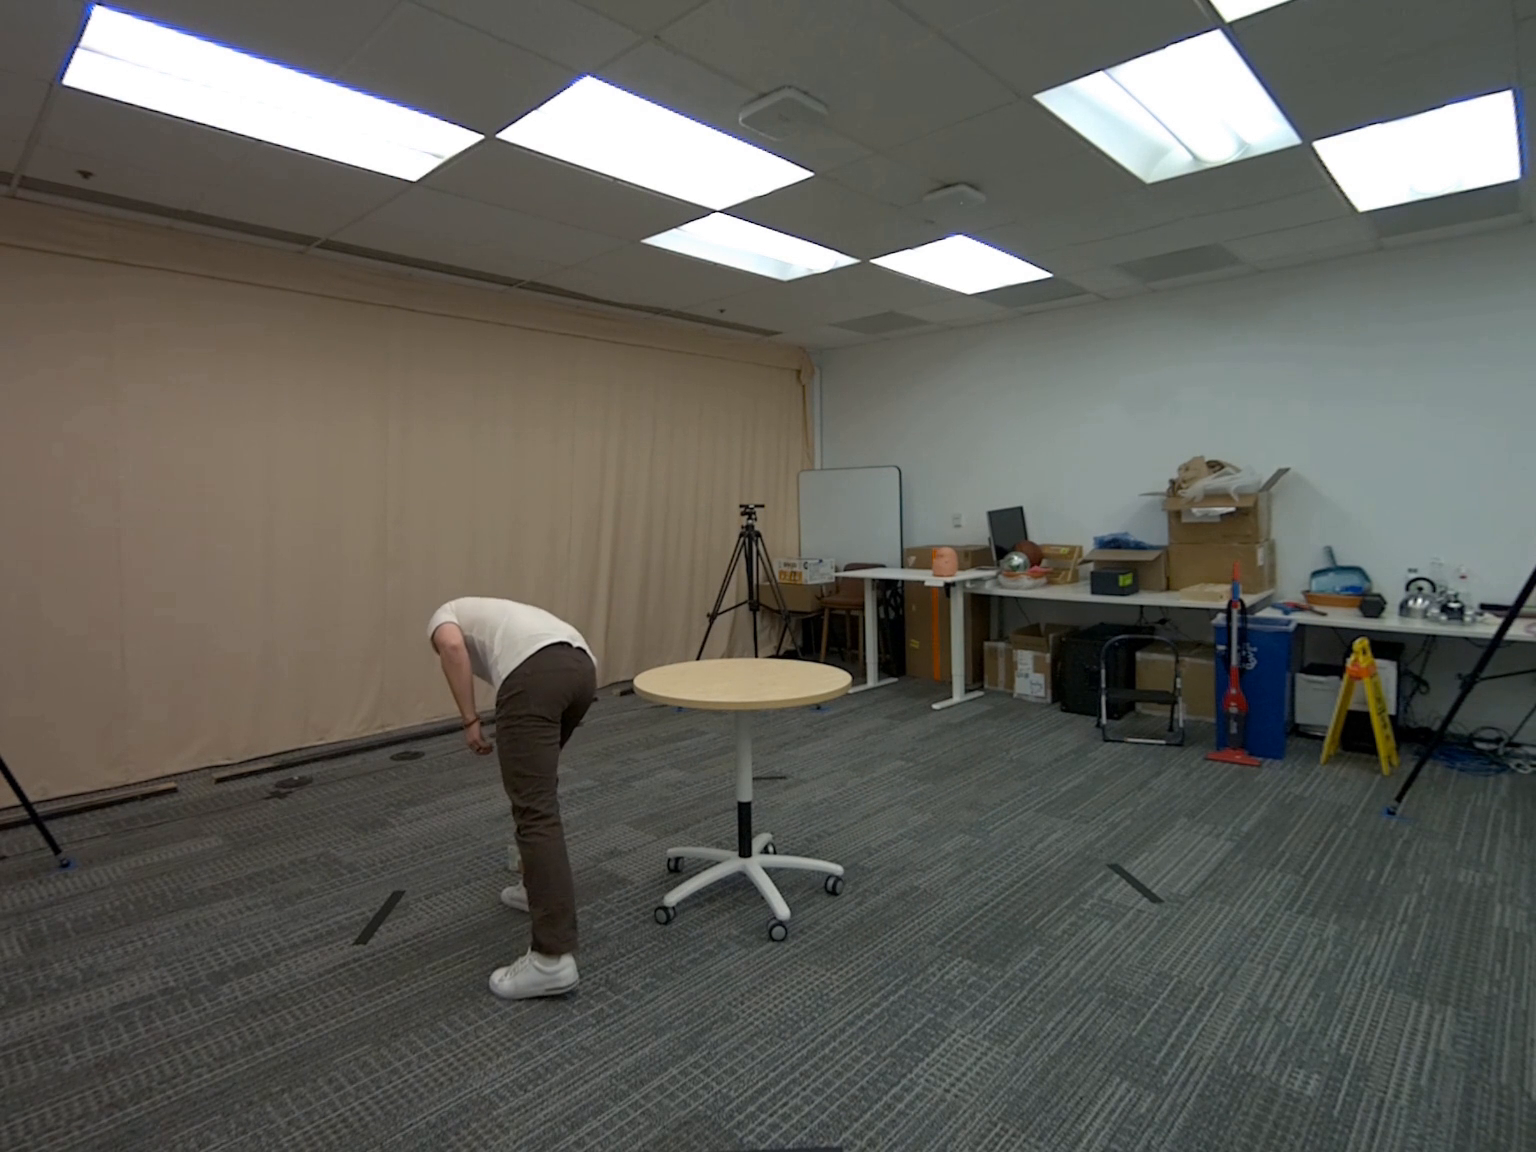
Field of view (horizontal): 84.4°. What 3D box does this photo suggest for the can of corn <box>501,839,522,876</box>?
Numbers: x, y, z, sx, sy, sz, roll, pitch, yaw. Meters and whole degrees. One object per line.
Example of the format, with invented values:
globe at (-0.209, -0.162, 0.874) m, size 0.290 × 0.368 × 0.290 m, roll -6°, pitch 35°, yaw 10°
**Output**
can of corn at (-0.982, 1.083, 3.273) m, size 0.074 × 0.110 × 0.074 m, roll -3°, pitch 7°, yaw -1°
